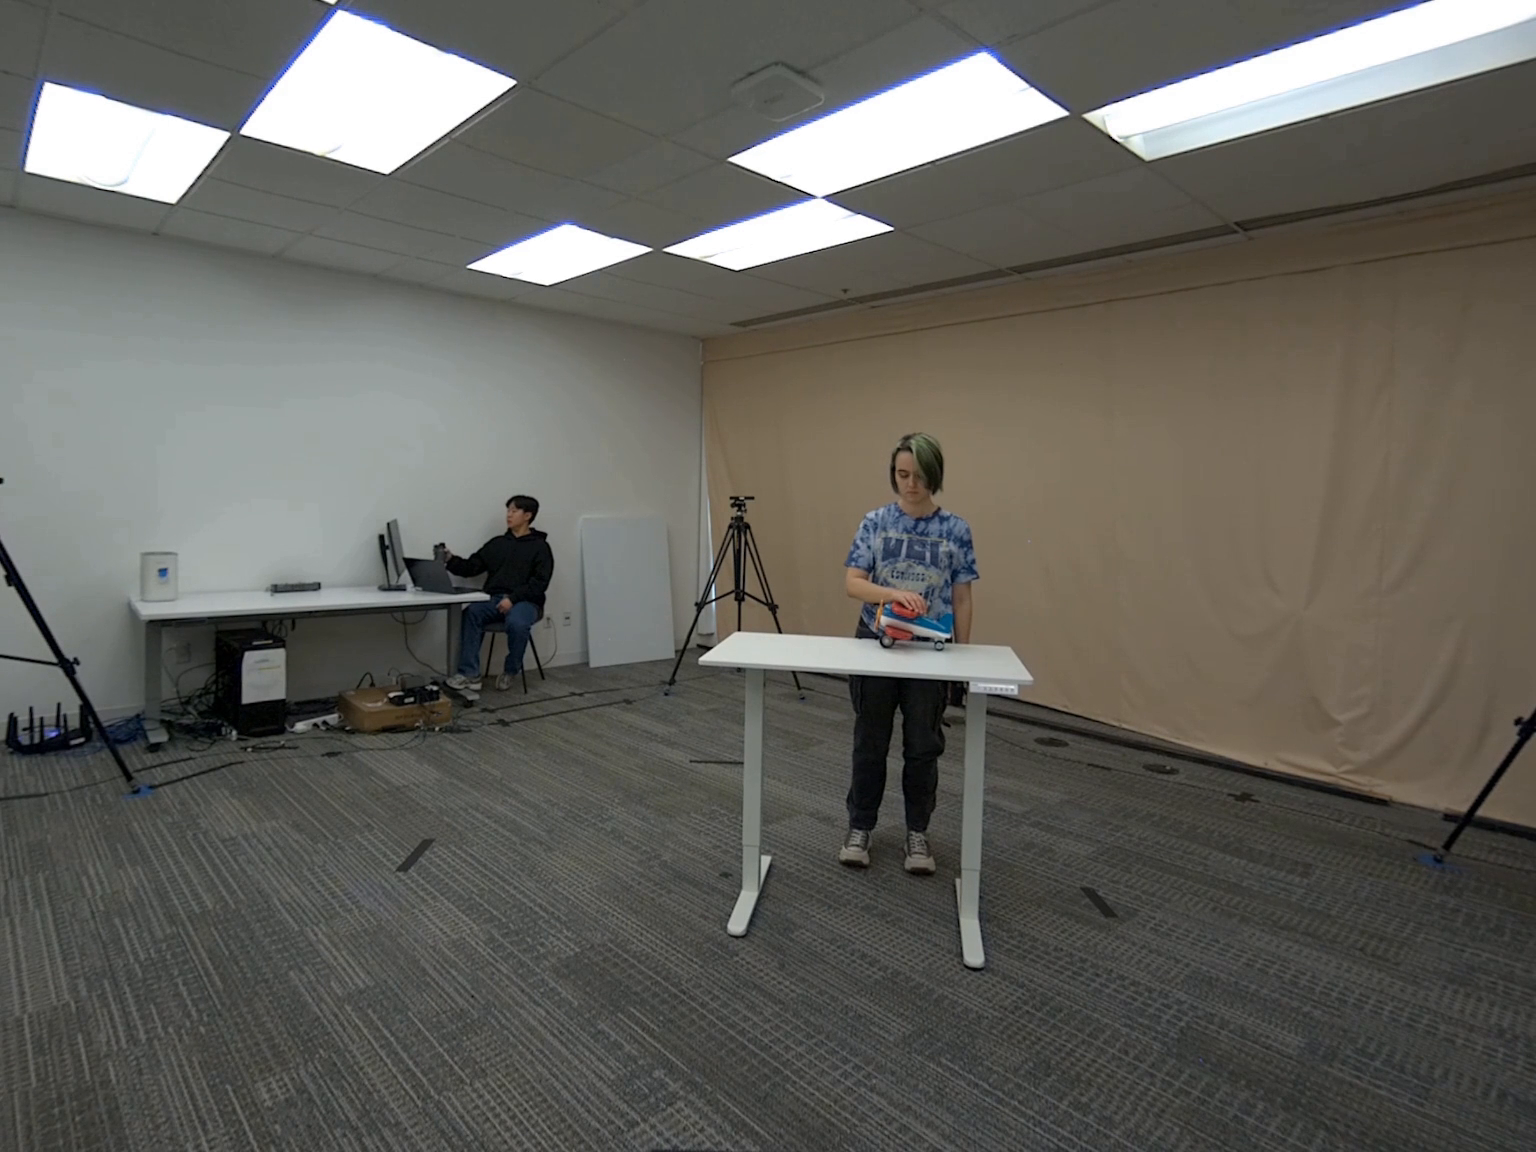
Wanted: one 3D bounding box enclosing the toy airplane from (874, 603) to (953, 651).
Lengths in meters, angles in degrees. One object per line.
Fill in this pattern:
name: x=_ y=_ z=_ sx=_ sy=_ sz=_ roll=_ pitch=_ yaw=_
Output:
toy airplane: x=0.497 y=0.177 z=2.963 sx=0.256 sy=0.156 sz=0.254 roll=0 pitch=2 yaw=-14
